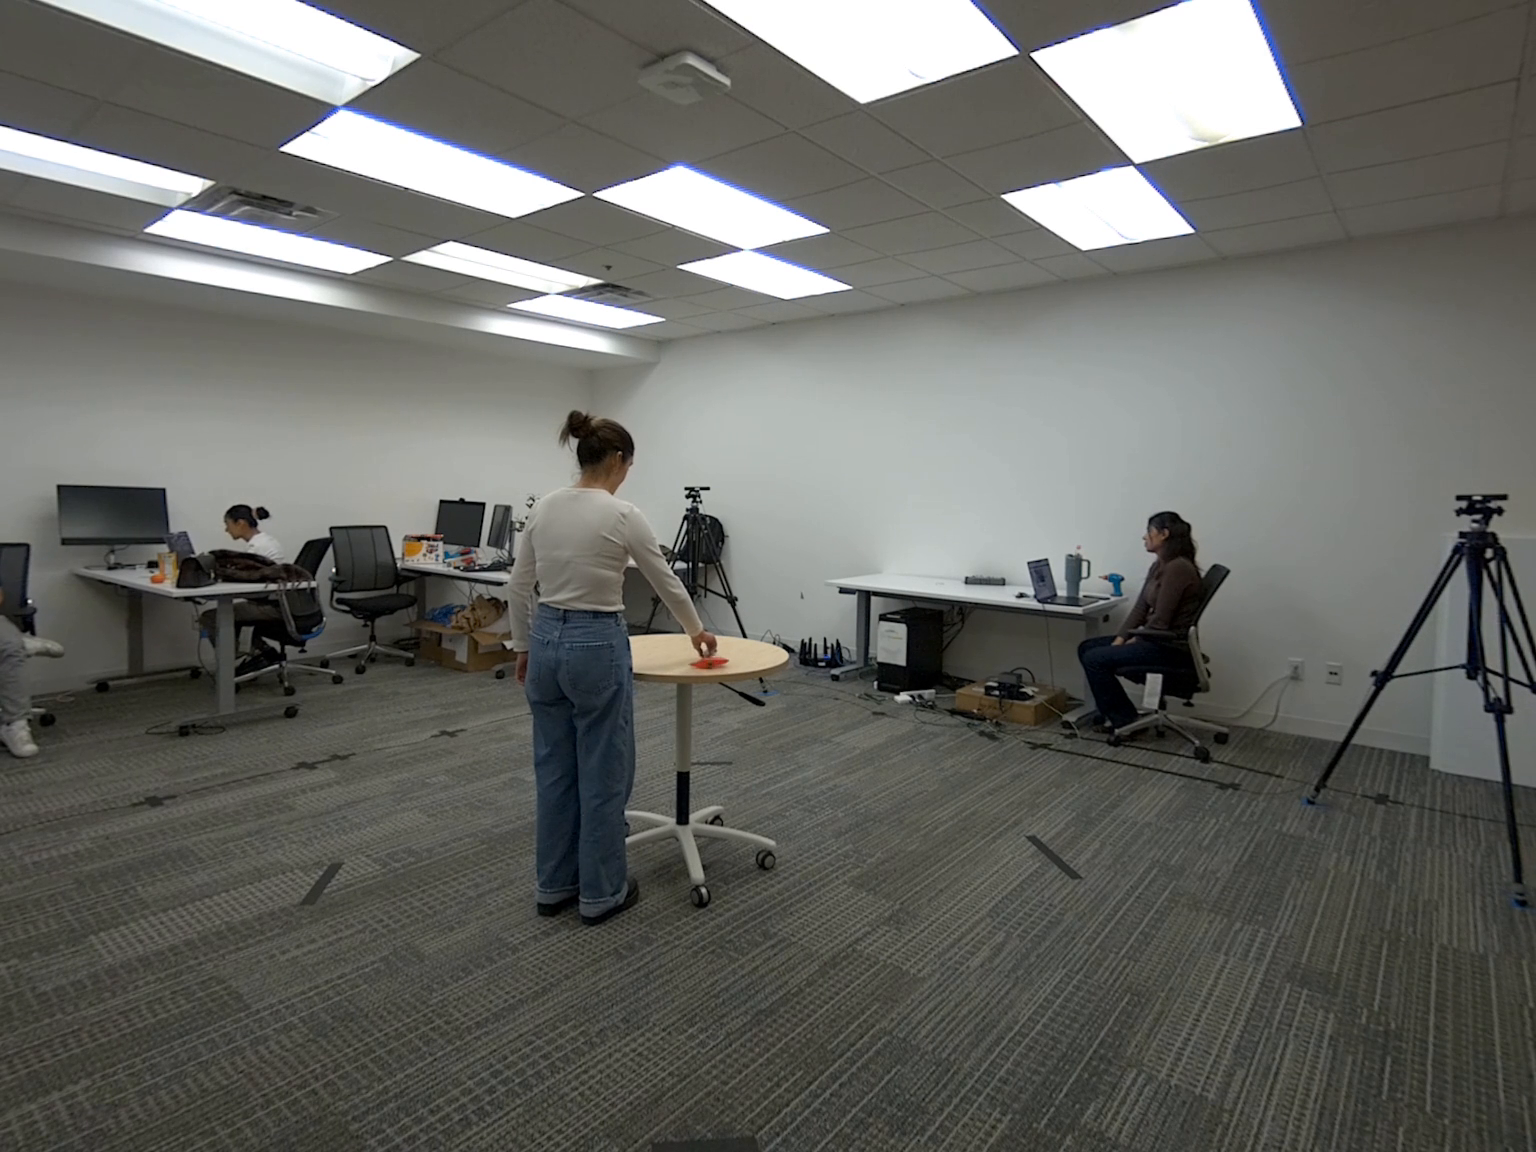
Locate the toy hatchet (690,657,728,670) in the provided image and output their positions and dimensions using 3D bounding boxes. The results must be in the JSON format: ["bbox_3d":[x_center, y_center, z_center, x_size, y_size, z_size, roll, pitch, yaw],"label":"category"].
[{"bbox_3d":[-0.187,0.280,2.991,0.132,0.029,0.269,-6,7,9],"label":"toy hatchet"}]
